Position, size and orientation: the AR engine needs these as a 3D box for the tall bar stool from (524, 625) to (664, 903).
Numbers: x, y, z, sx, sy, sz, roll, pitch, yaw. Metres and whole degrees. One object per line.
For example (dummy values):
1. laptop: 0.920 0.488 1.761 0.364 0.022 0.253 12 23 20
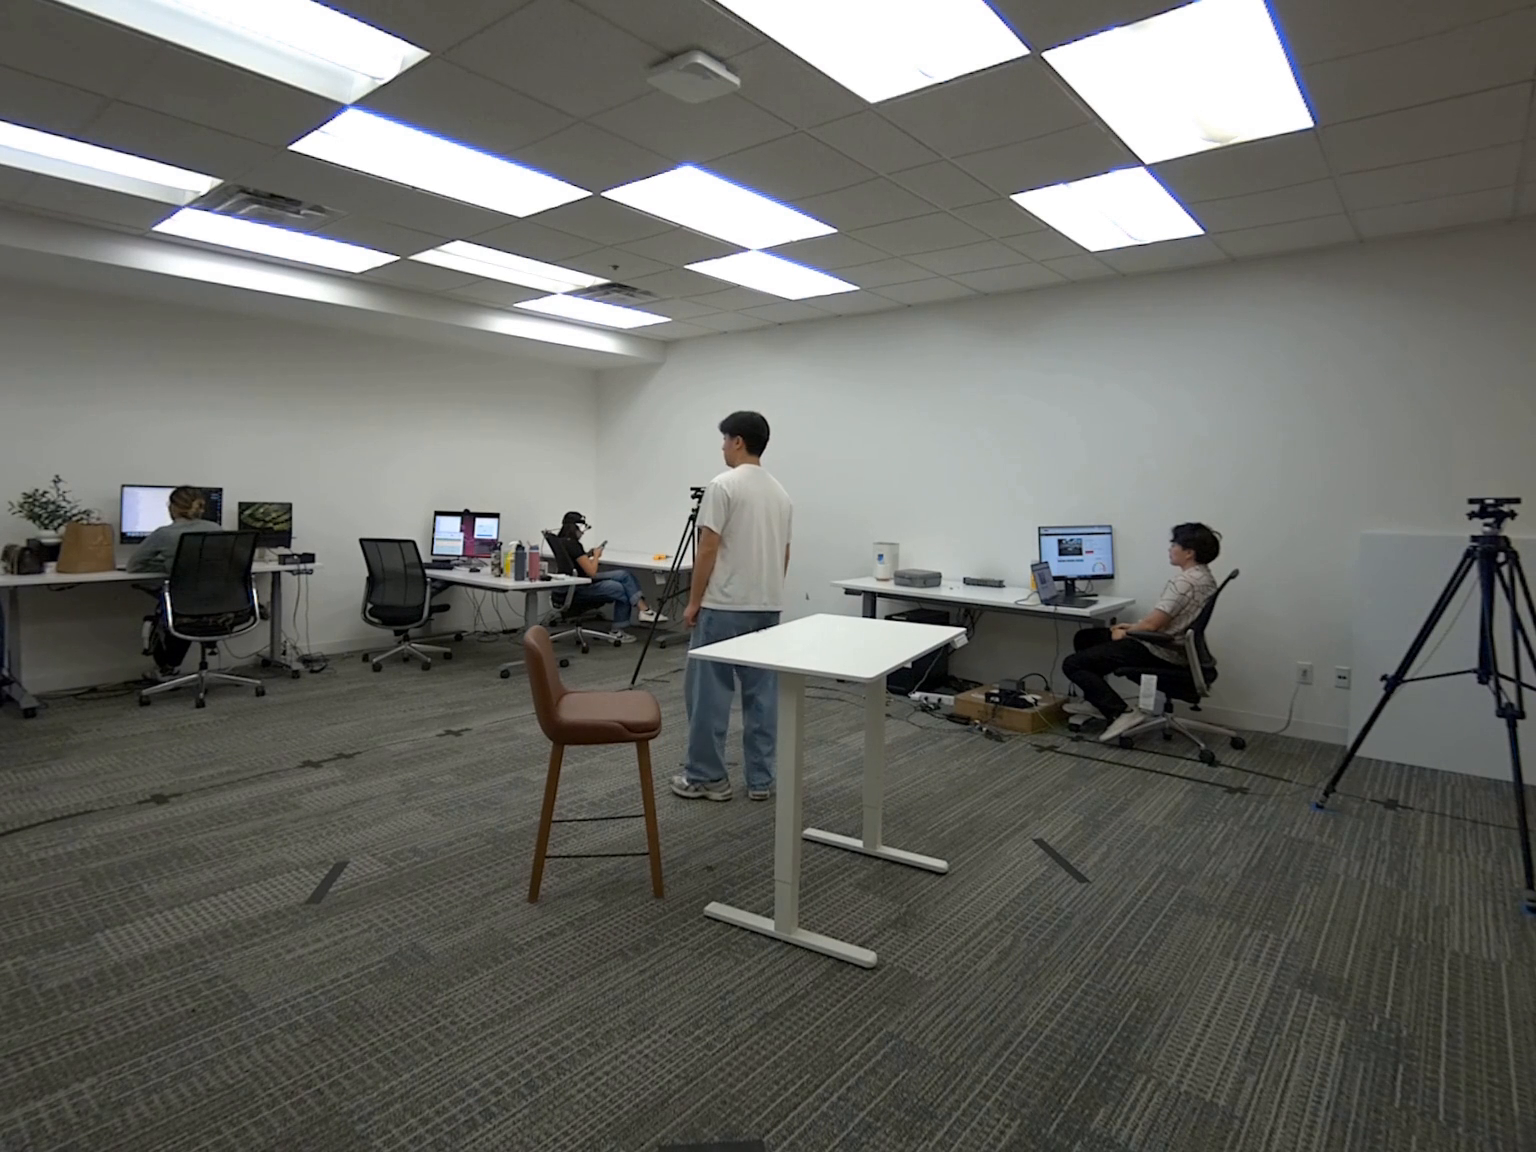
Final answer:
1. tall bar stool: -0.624 0.633 3.023 0.463 0.887 0.462 -1 3 -10
